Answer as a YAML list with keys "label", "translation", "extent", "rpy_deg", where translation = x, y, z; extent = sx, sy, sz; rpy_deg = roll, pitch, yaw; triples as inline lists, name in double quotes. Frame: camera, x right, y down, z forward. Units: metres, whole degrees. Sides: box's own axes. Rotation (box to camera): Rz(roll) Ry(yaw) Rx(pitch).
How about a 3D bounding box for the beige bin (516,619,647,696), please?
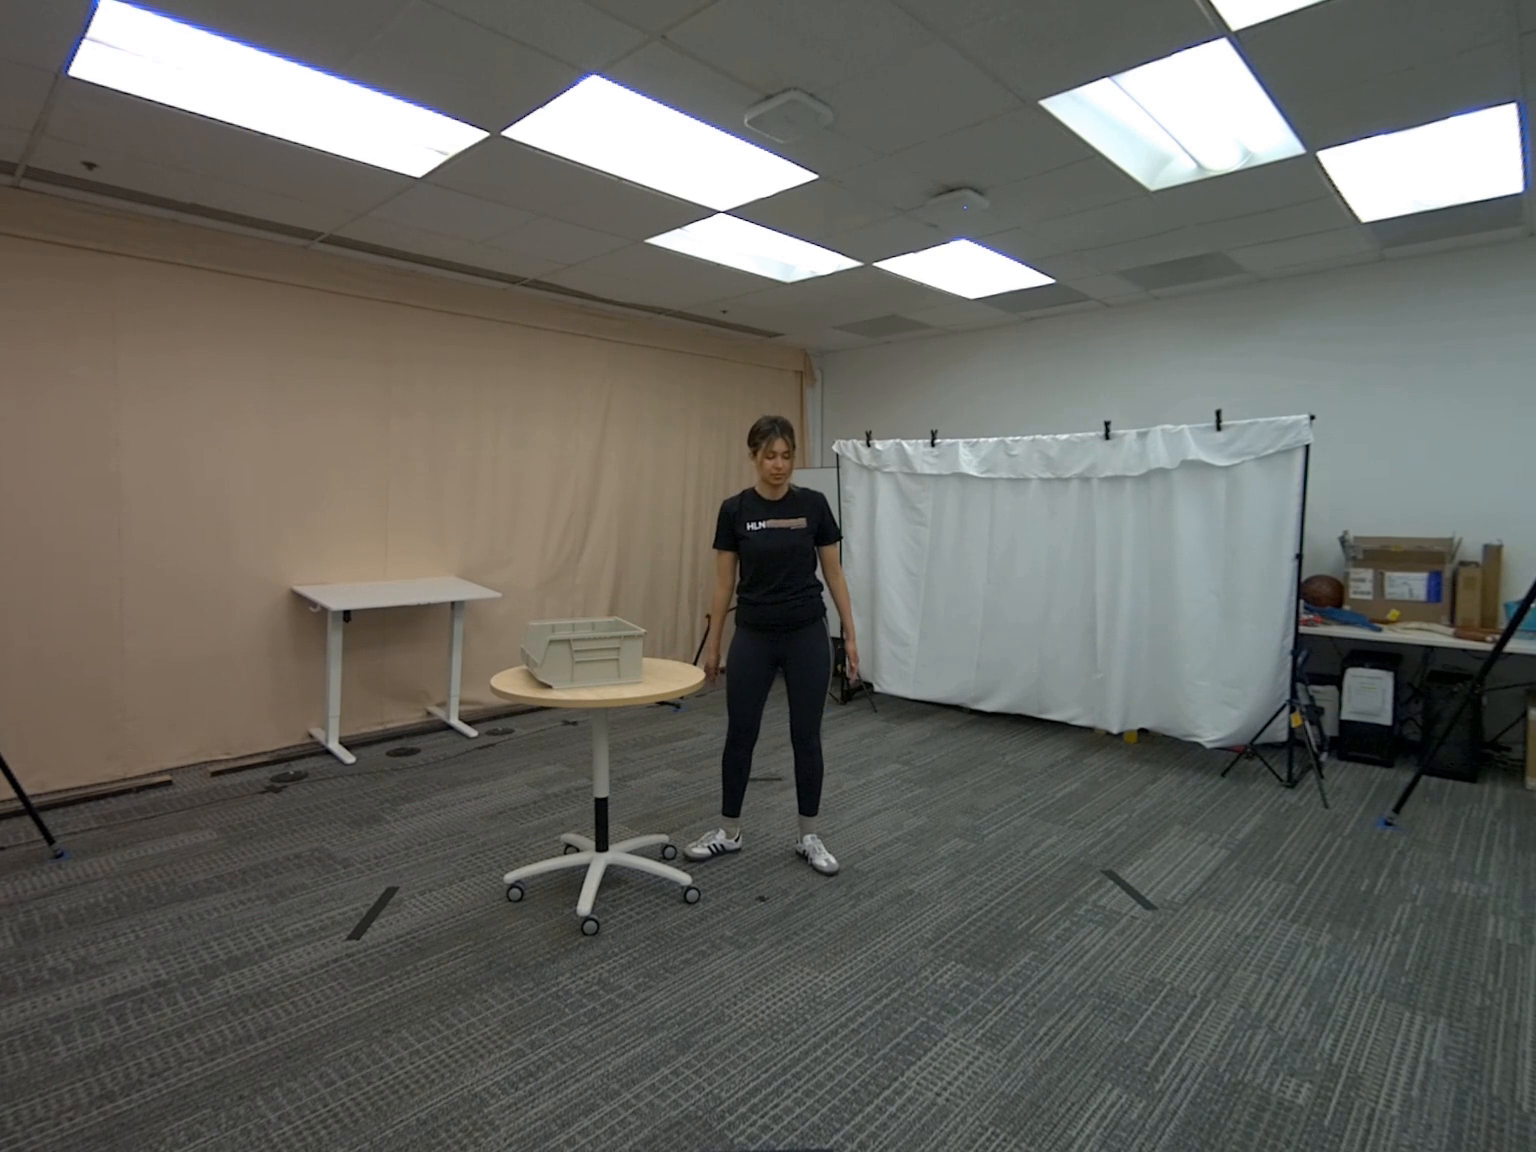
- label: "beige bin"
  translation: [-0.678, 0.277, 3.029]
  extent: [0.369, 0.189, 0.433]
  rpy_deg: [-1, 3, -24]
